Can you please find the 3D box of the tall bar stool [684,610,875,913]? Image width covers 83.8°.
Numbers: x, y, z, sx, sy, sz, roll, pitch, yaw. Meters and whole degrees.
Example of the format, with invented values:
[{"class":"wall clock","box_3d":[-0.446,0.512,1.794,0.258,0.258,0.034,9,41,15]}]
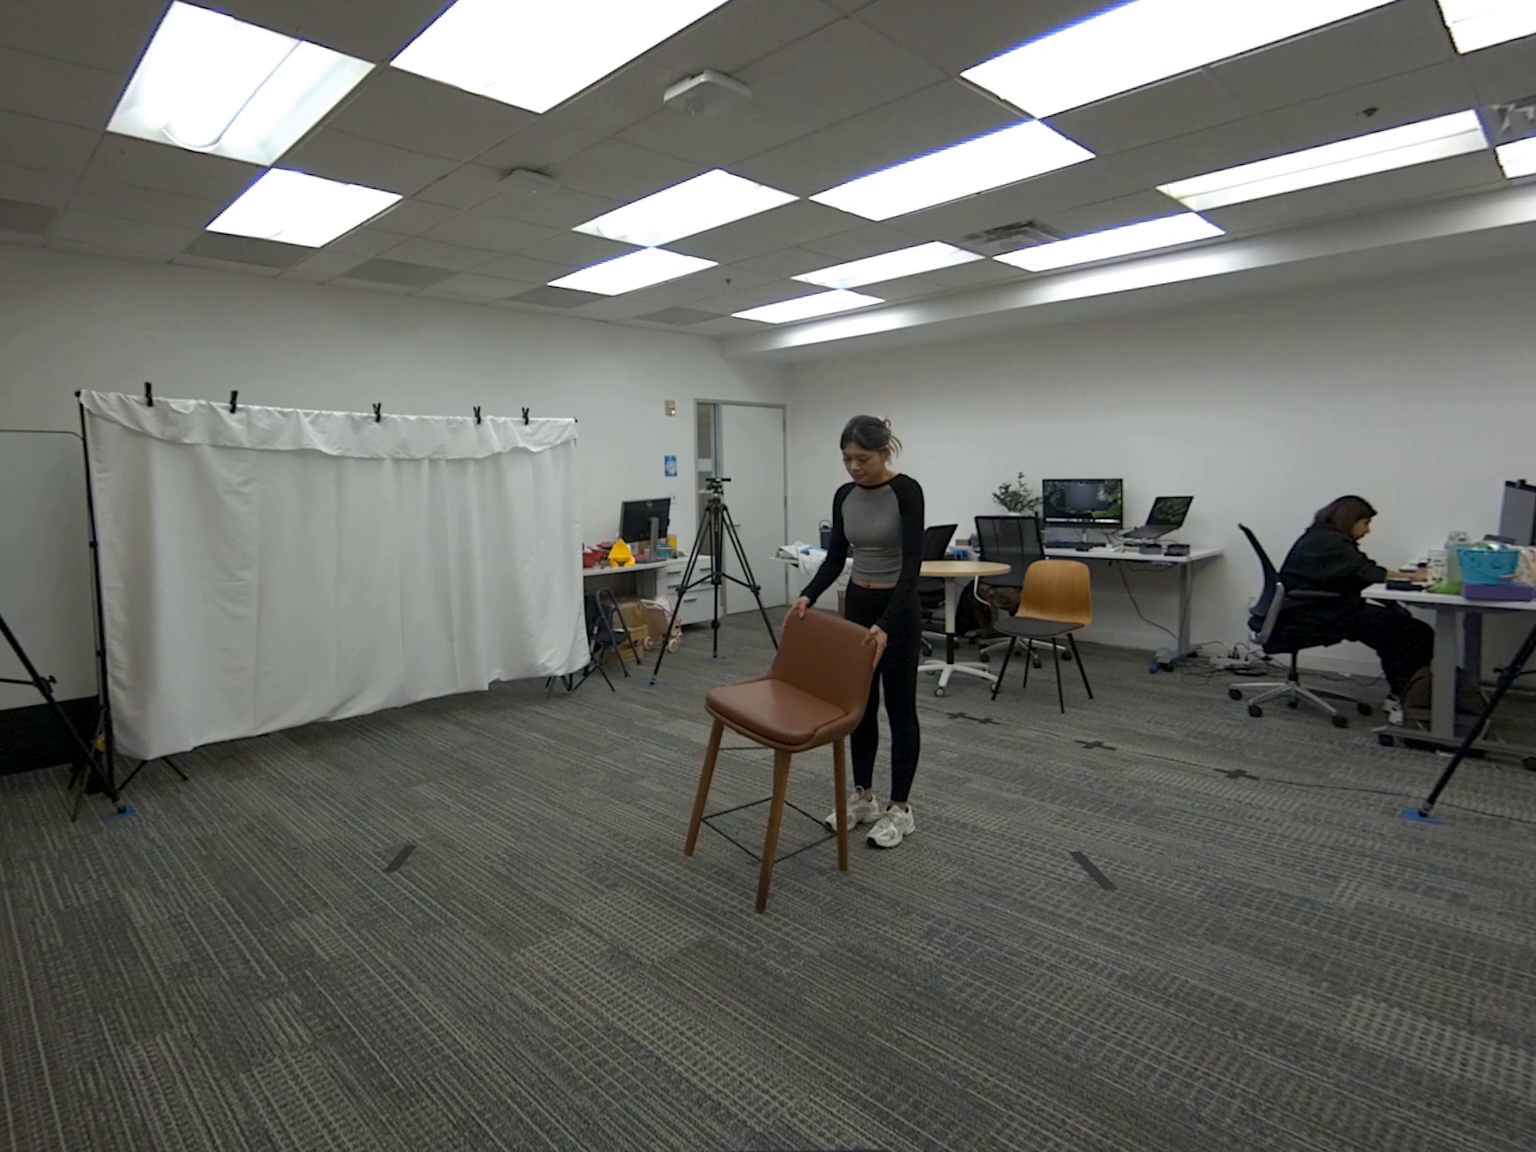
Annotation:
[{"class":"tall bar stool","box_3d":[0.052,0.595,2.959,0.454,0.884,0.473,-1,12,-42]}]
